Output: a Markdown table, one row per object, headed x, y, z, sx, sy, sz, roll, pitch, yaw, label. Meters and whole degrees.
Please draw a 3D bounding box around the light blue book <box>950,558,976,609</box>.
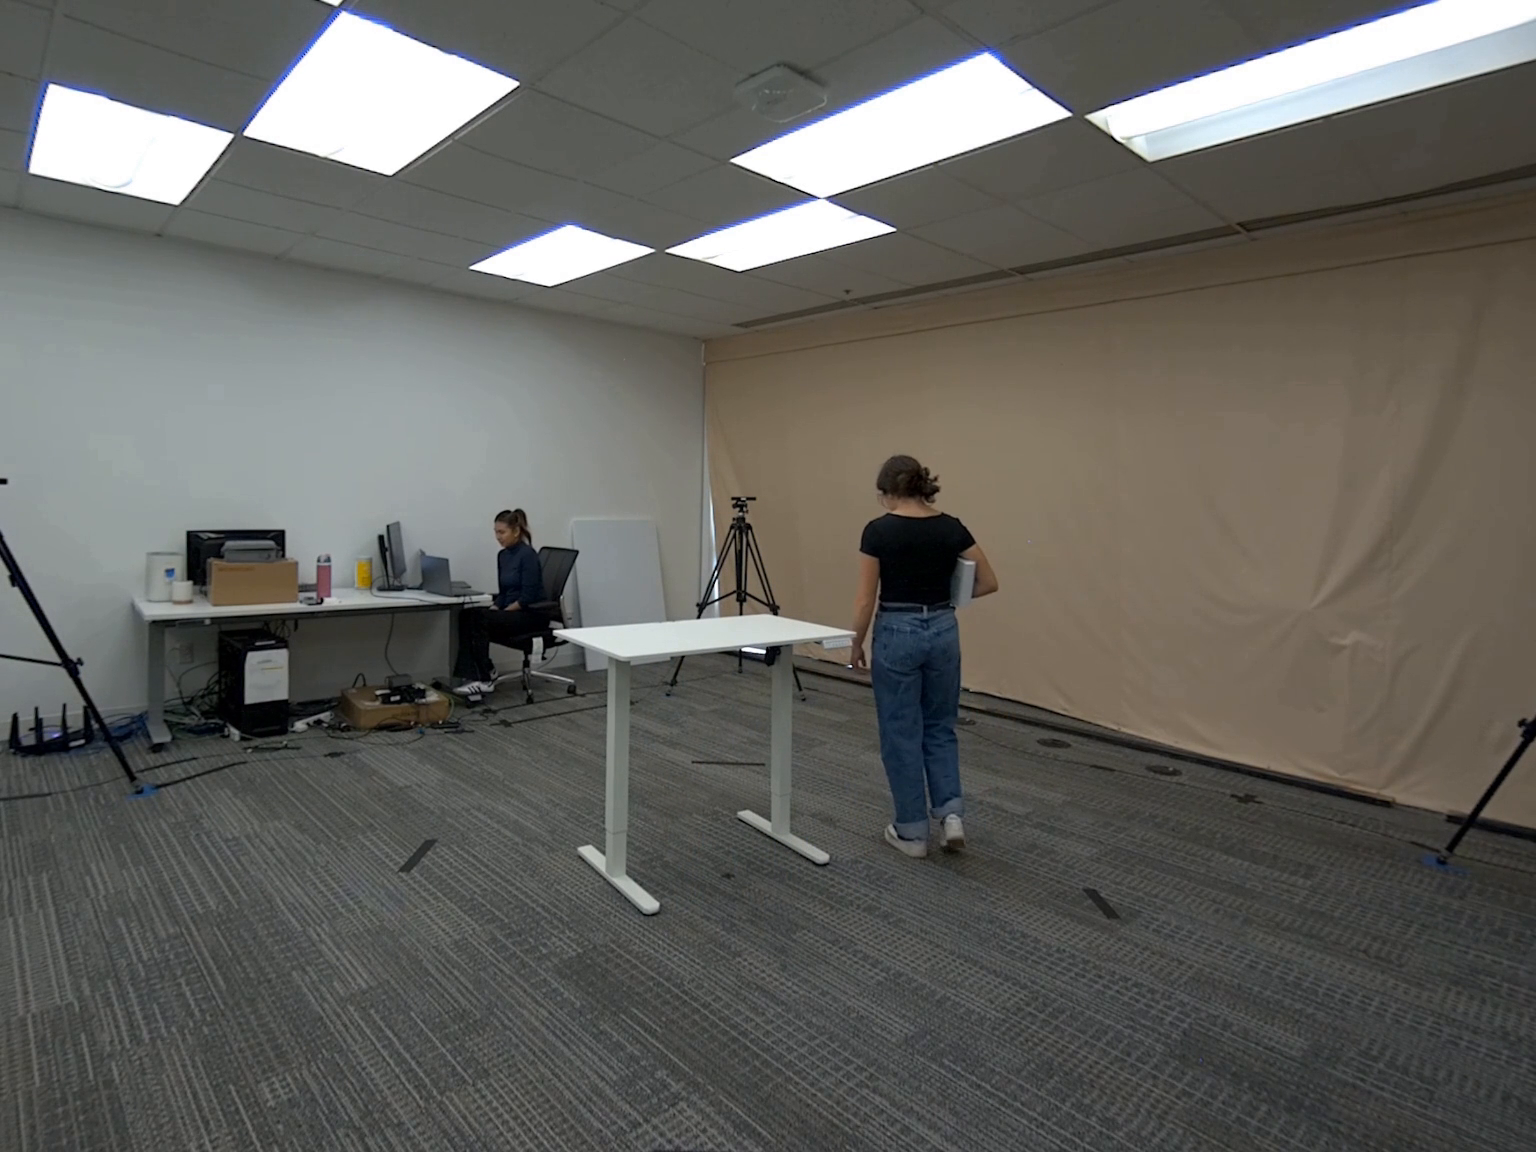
| x | y | z | sx | sy | sz | roll | pitch | yaw | label |
| --- | --- | --- | --- | --- | --- | --- | --- | --- | --- |
| 0.710 | -0.009 | 3.395 | 0.058 | 0.189 | 0.268 | -6 | 20 | -23 | light blue book |
